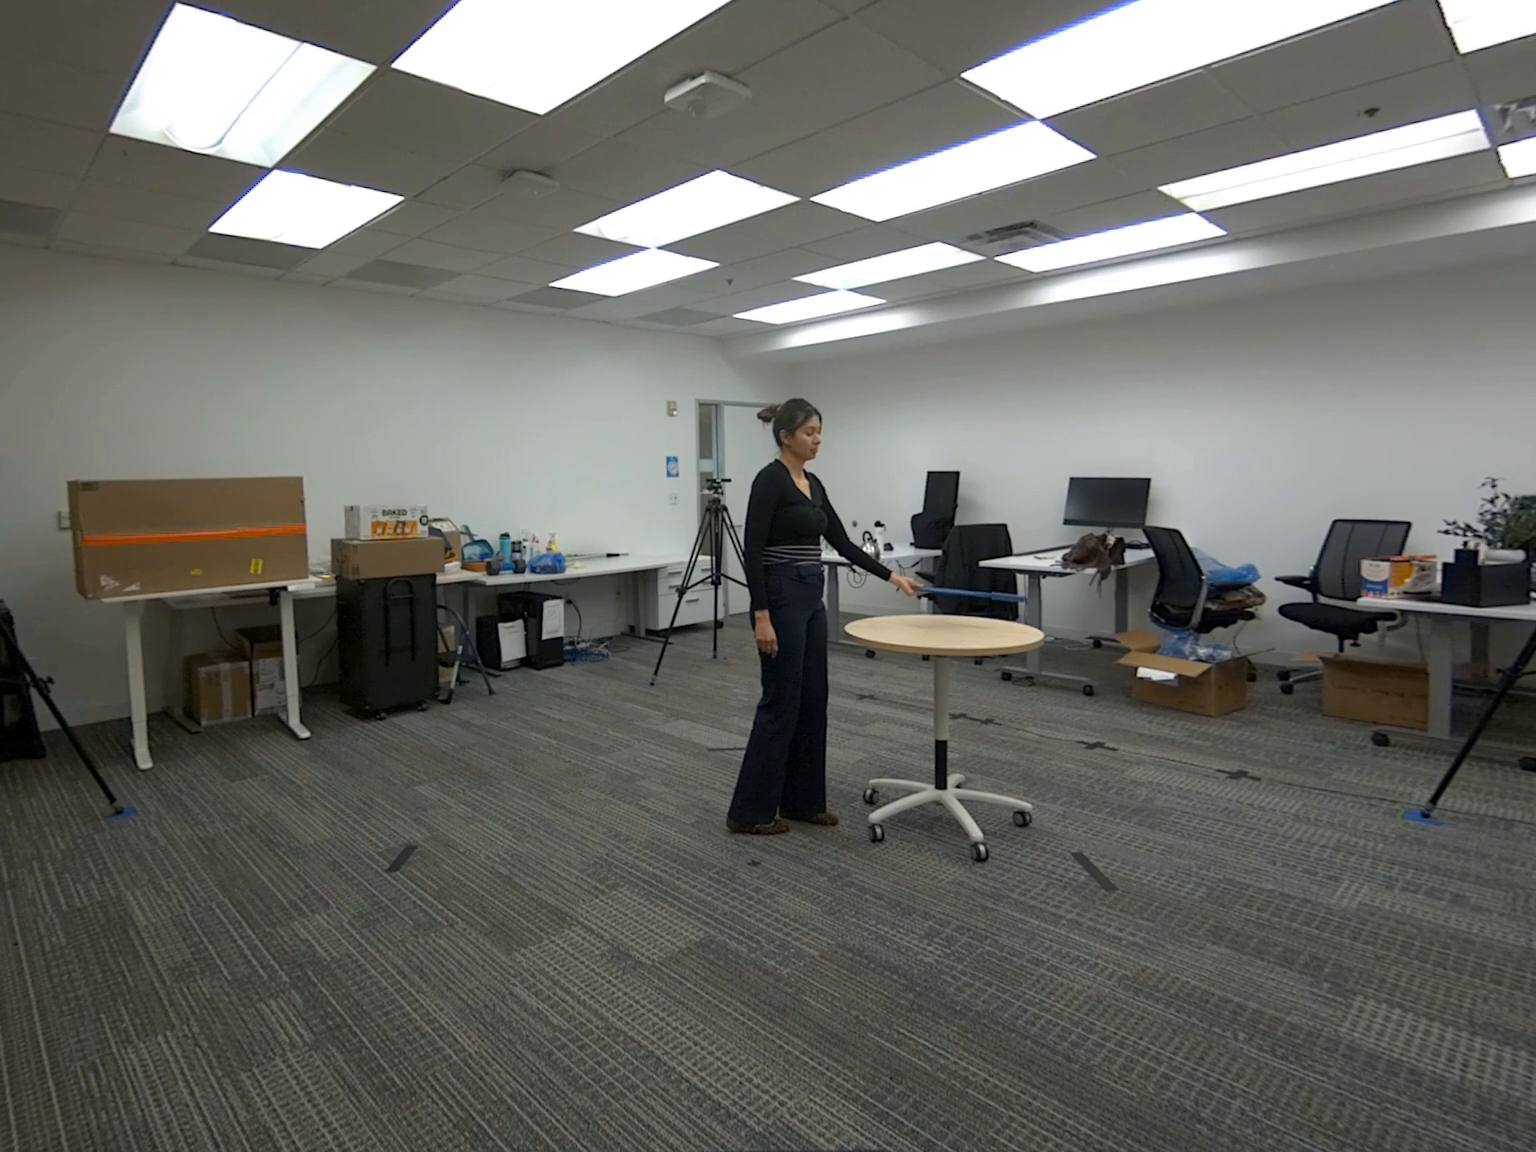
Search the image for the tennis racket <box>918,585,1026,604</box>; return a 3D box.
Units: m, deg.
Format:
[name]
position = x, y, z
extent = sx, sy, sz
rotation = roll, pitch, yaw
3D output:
[tennis racket]
position = 0.808, 0.070, 3.450
extent = 0.441, 0.031, 0.210
rotation = 6, 5, 18
